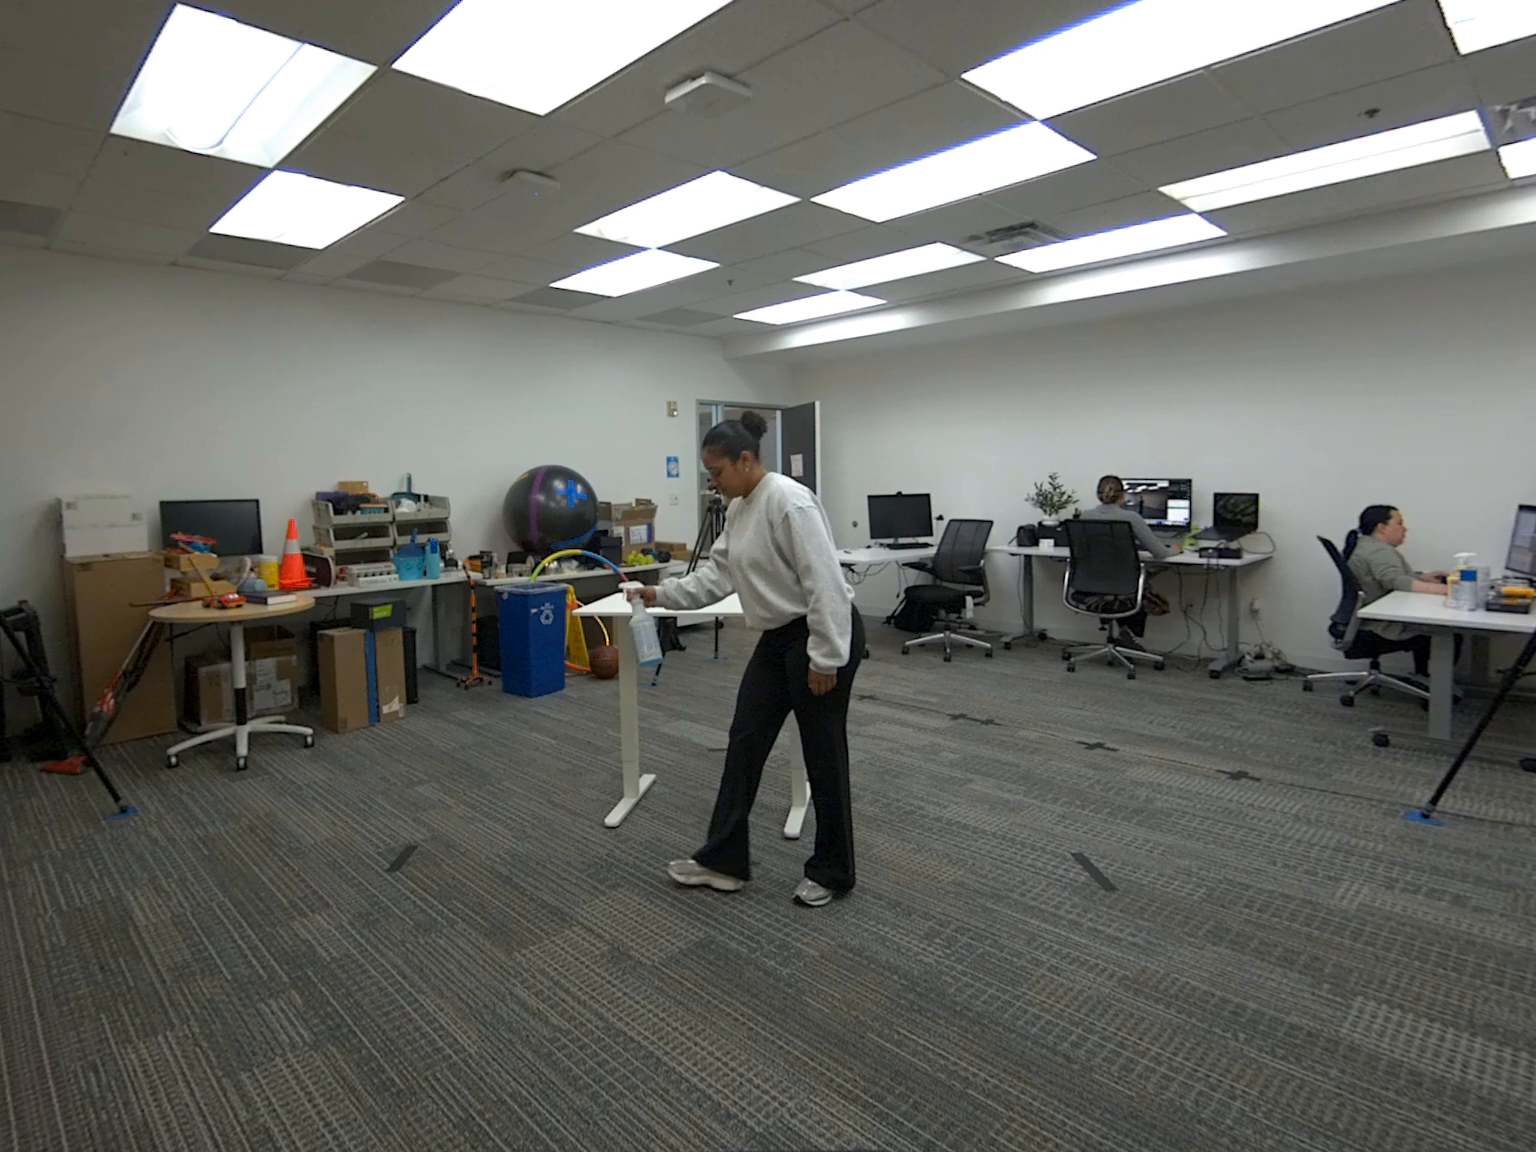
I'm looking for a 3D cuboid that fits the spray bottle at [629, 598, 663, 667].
[{"bbox_3d":[-0.434,0.171,2.953,0.090,0.301,0.086,-14,-11,-3],"label":"spray bottle"}]
